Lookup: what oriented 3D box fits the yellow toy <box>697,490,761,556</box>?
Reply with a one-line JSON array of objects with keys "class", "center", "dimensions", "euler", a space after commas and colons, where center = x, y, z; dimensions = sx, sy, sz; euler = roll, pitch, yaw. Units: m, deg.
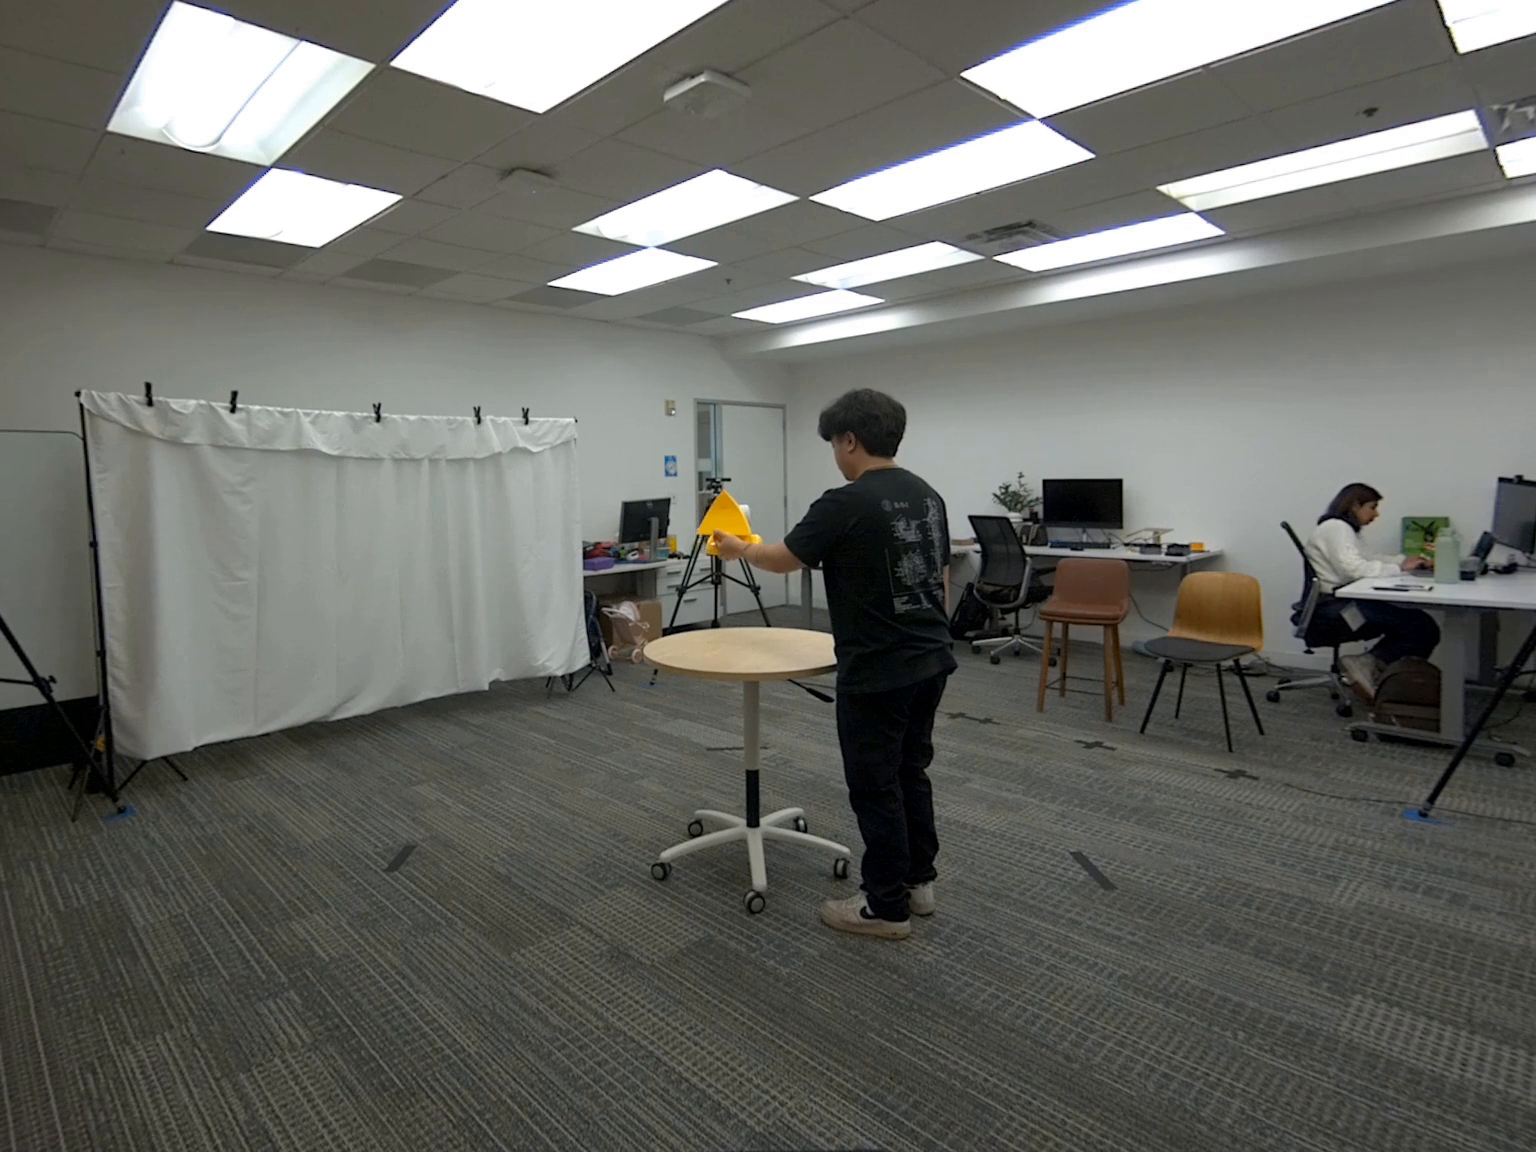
[{"class": "yellow toy", "center": [-0.122, -0.200, 3.025], "dimensions": [0.209, 0.228, 0.191], "euler": [2, 14, 22]}]
